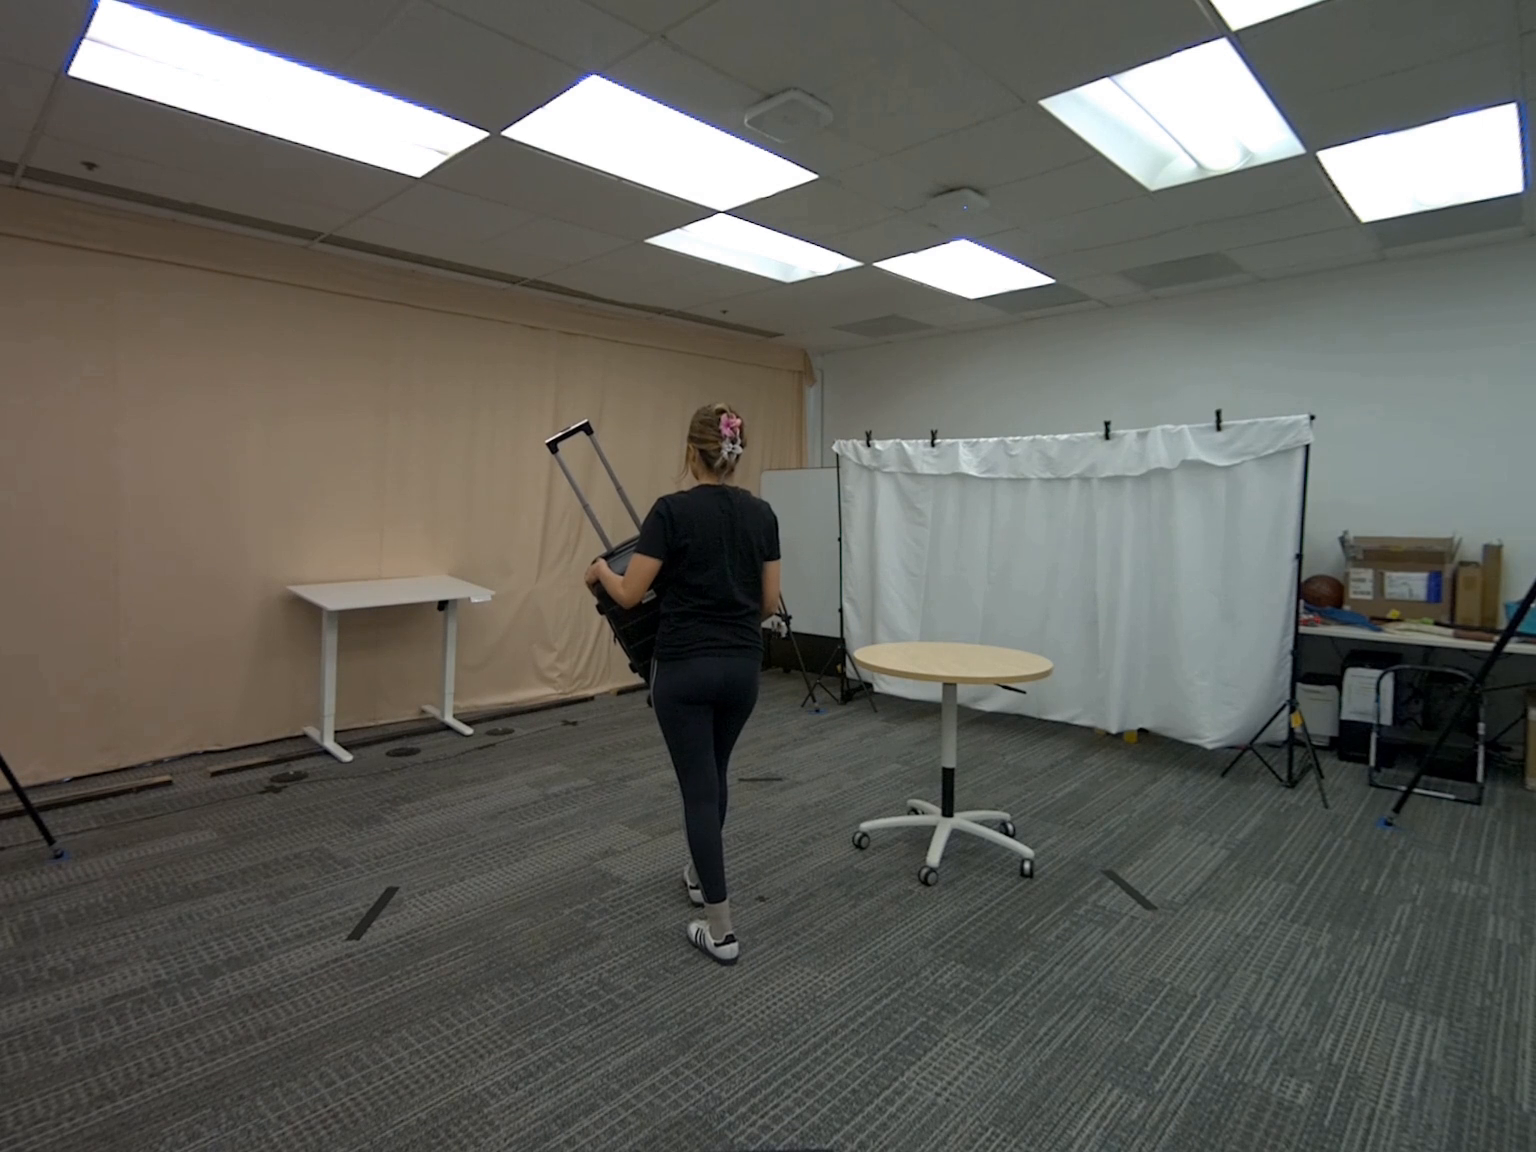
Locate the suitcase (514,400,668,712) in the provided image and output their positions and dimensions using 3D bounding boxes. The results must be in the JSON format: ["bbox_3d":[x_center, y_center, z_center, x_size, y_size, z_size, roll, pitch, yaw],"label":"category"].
[{"bbox_3d":[-0.451,-0.052,2.885,0.383,0.955,0.264,-26,28,-4],"label":"suitcase"}]
